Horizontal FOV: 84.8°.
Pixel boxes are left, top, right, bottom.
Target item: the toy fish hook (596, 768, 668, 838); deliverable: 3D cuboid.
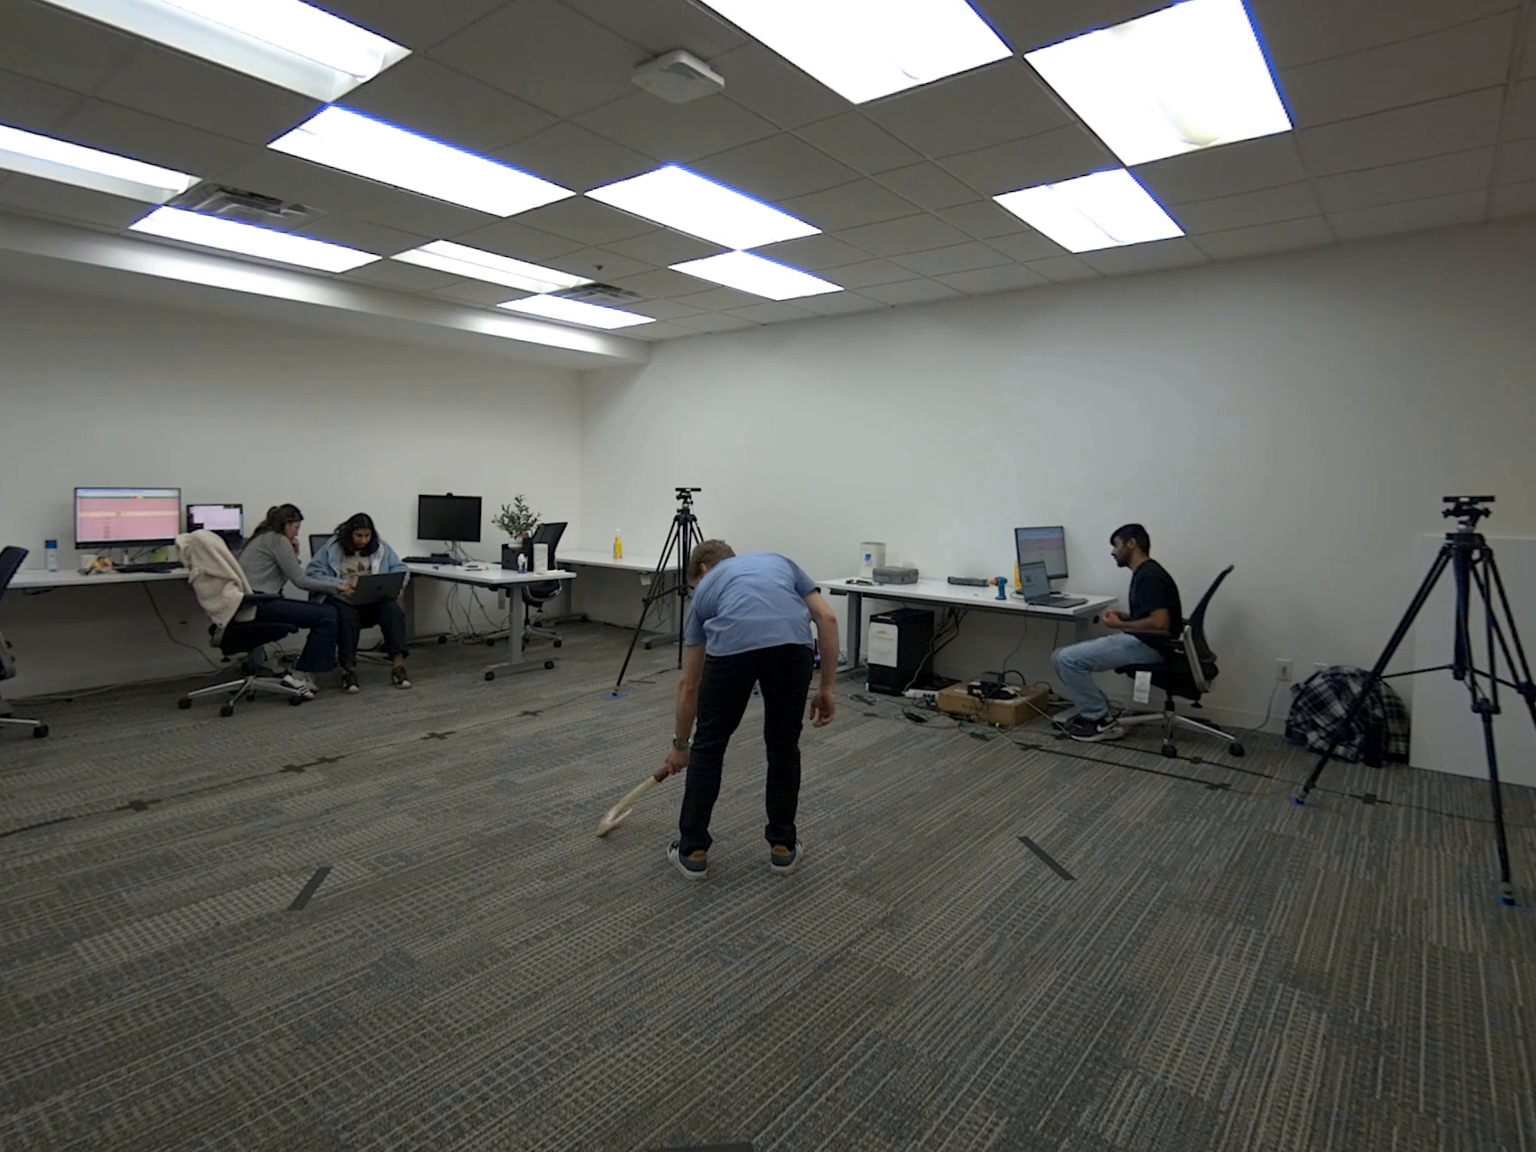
[{"bbox_3d":[-0.499,0.865,3.415,0.507,0.048,0.227,-42,9,4],"label":"toy fish hook"}]
